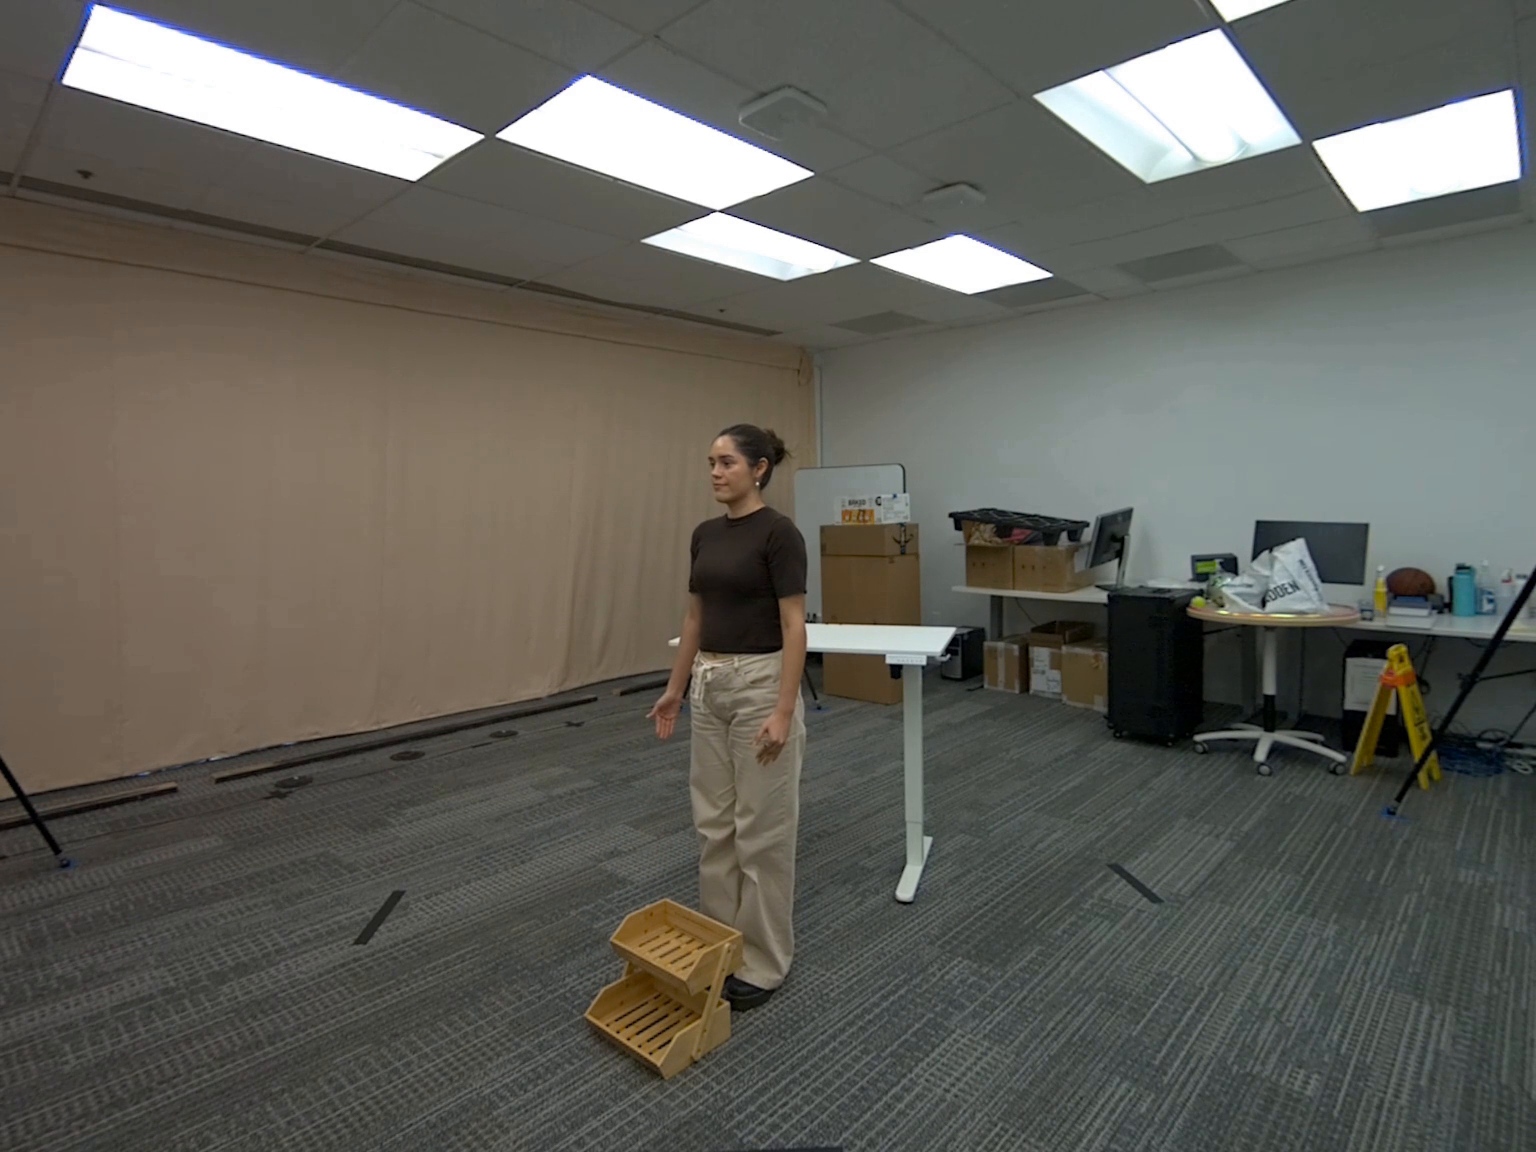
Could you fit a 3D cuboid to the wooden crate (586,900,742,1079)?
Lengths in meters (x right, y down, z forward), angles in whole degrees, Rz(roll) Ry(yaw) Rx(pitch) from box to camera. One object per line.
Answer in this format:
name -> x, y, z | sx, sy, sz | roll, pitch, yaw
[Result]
wooden crate -> -0.279, 1.082, 2.224 | 0.335, 0.273, 0.293 | 3, 4, 42
